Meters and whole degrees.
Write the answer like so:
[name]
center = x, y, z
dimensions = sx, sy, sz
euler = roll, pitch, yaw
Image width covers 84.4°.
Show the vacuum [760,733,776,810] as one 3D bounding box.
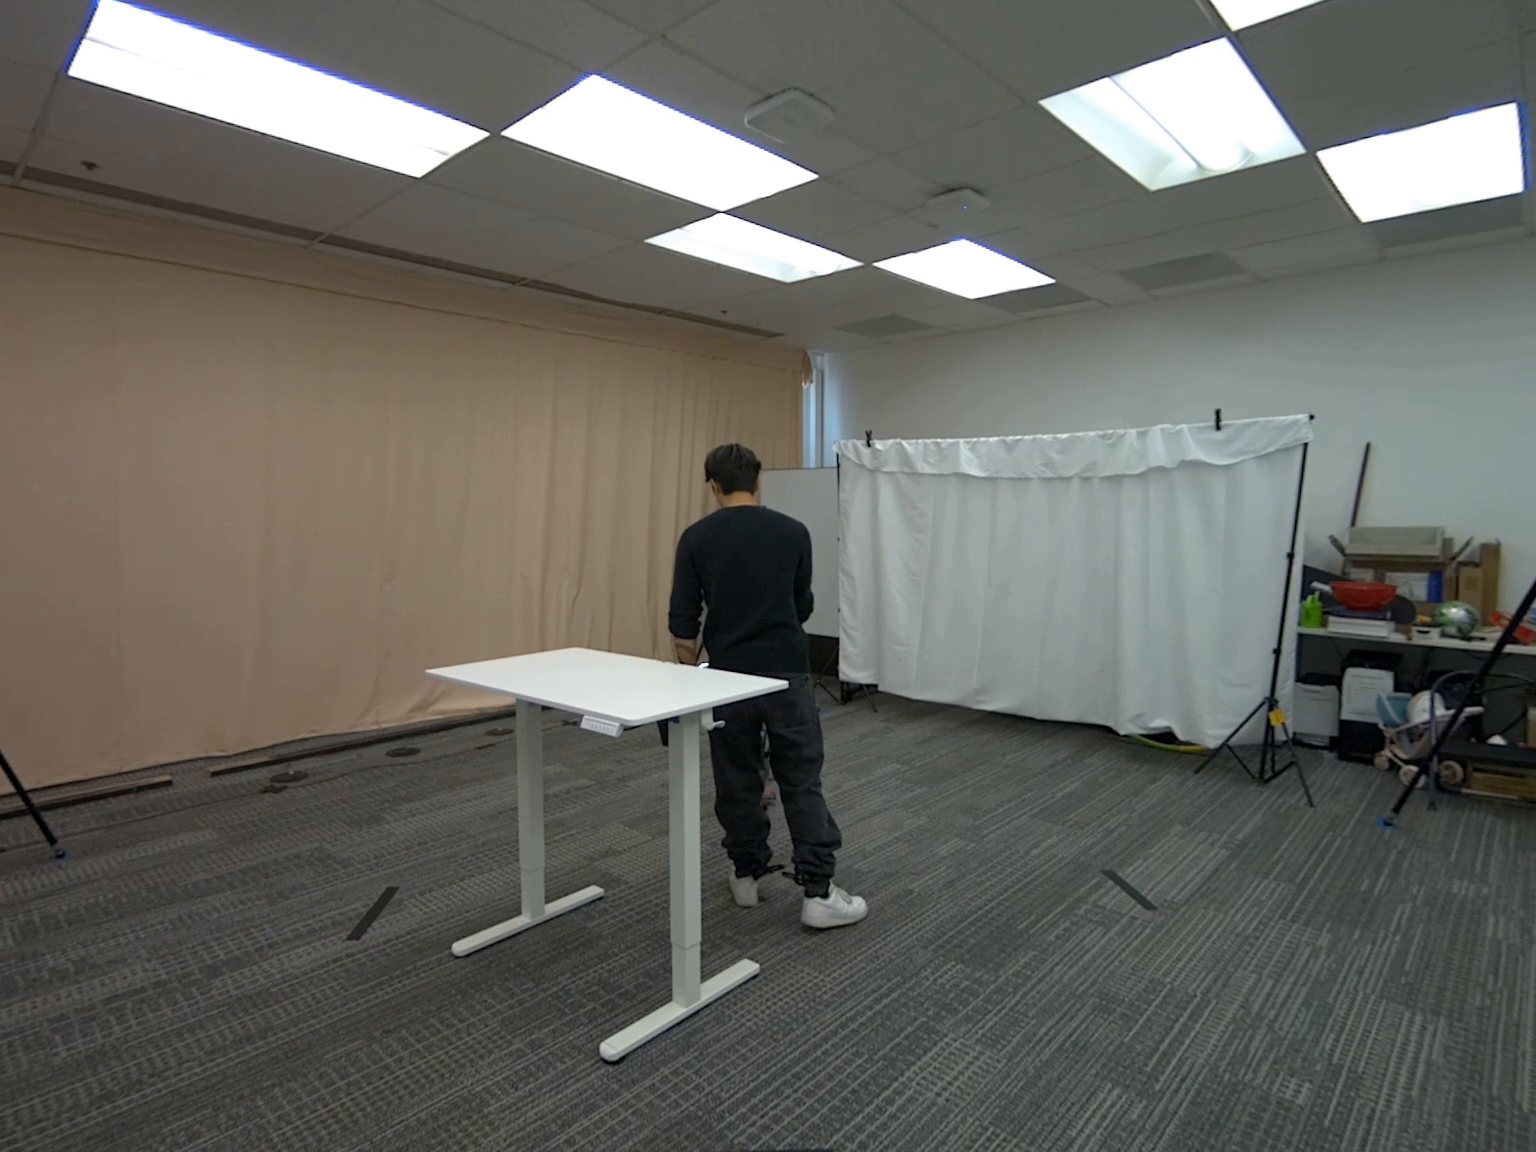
[vacuum]
center = -0.027, 0.684, 3.547
dimensions = 0.249, 1.034, 0.148
euler = -4, 45, -14
